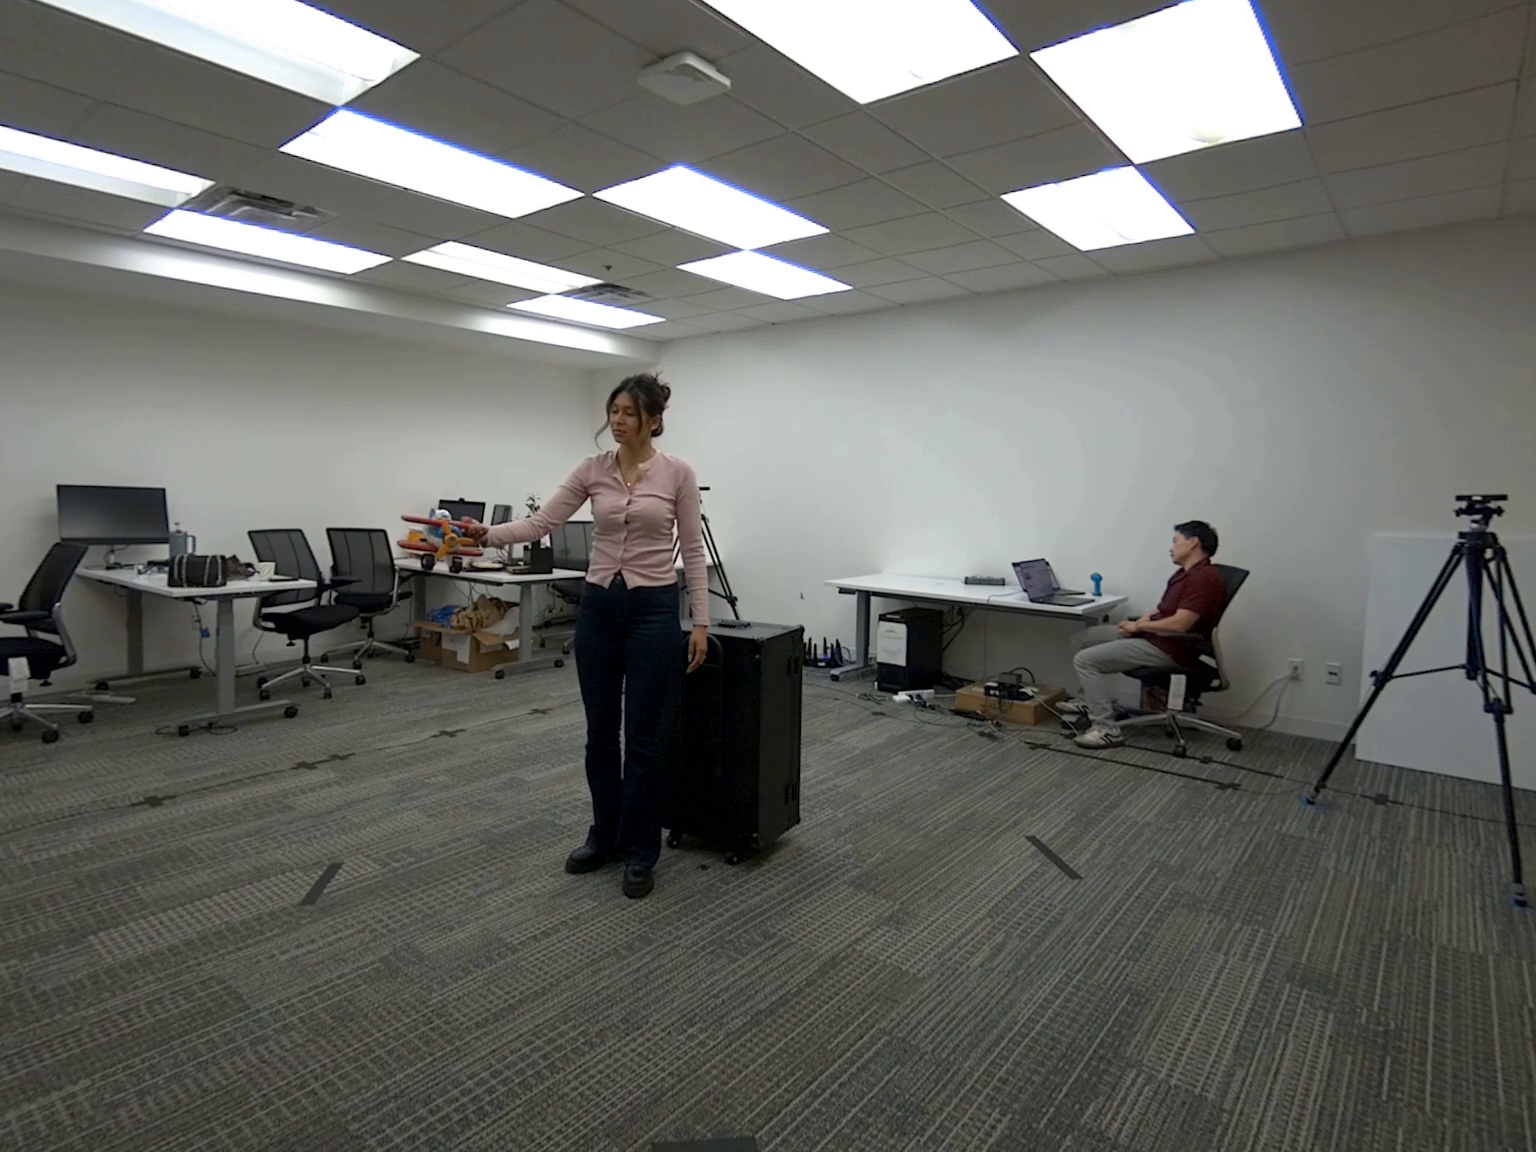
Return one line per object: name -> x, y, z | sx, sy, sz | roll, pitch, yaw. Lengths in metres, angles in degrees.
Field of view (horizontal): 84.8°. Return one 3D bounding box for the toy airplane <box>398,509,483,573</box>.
toy airplane -> -1.031, -0.122, 2.593 | 0.267, 0.155, 0.245 | 26, 15, 22
